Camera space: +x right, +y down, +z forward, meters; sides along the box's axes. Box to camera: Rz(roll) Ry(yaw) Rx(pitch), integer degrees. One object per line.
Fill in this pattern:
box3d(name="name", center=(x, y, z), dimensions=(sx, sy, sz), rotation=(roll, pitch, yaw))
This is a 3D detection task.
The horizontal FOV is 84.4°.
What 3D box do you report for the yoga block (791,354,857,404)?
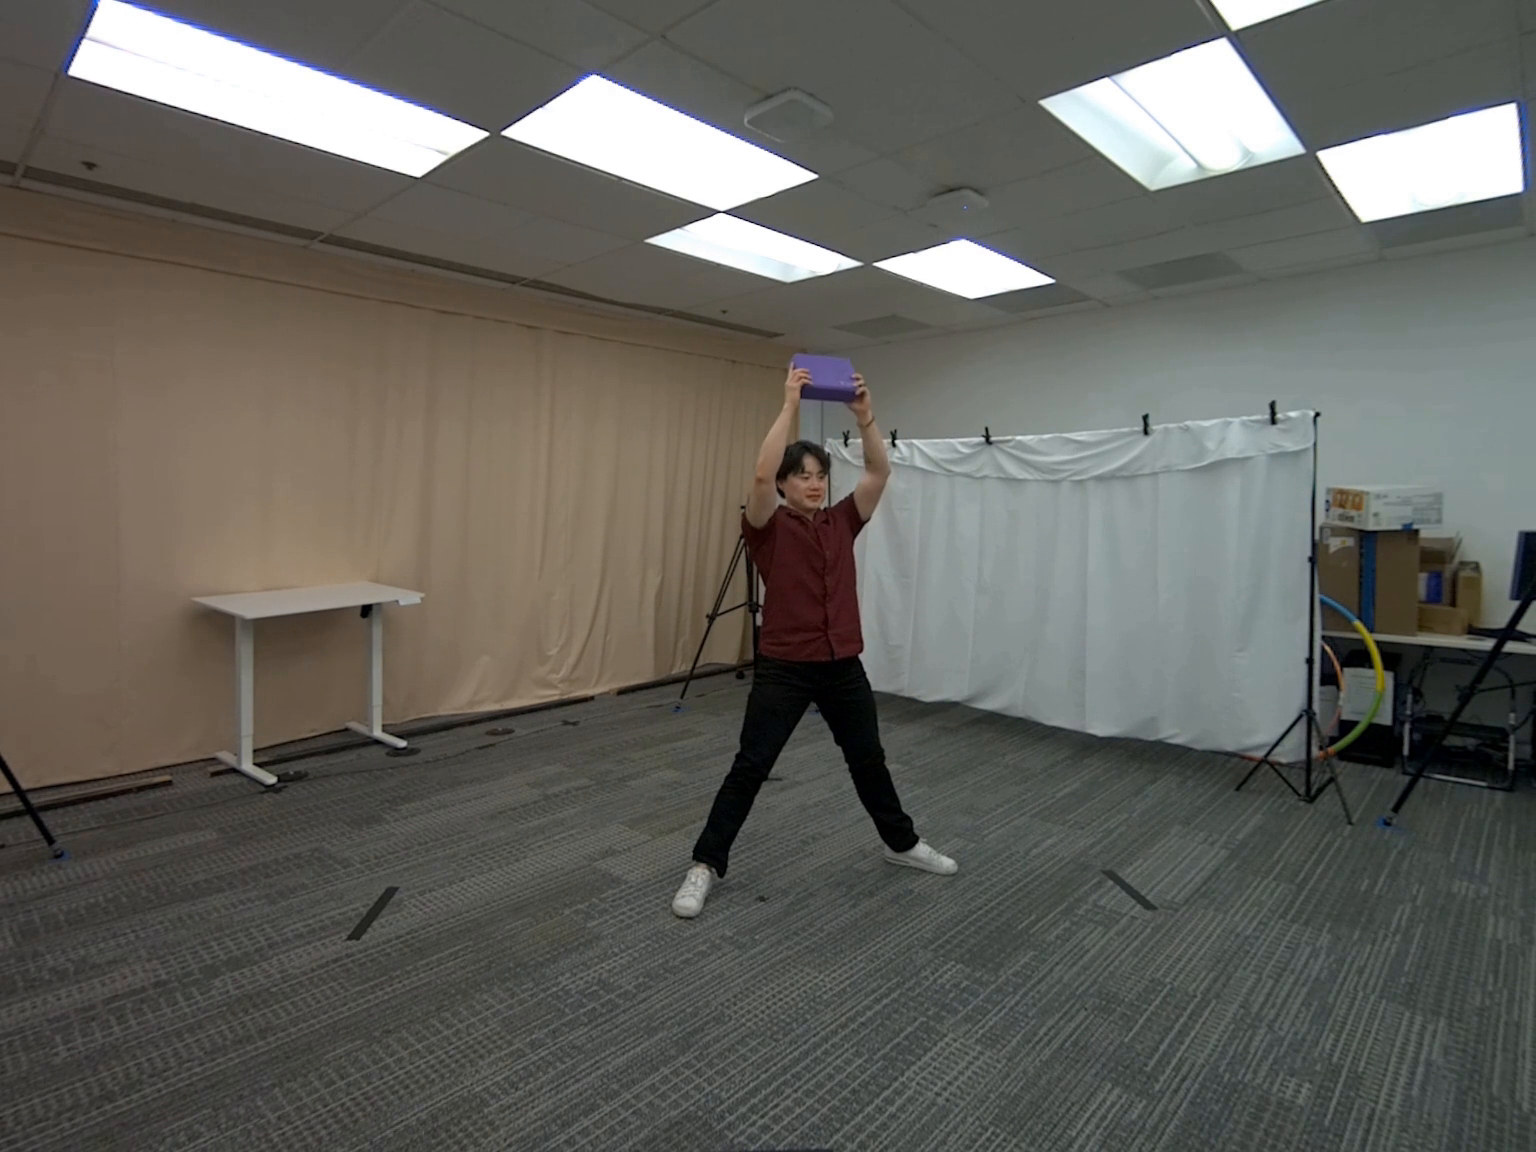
box3d(name="yoga block", center=(0.205, -0.680, 2.913), dimensions=(0.224, 0.152, 0.077), rotation=(-1, -28, -25))
